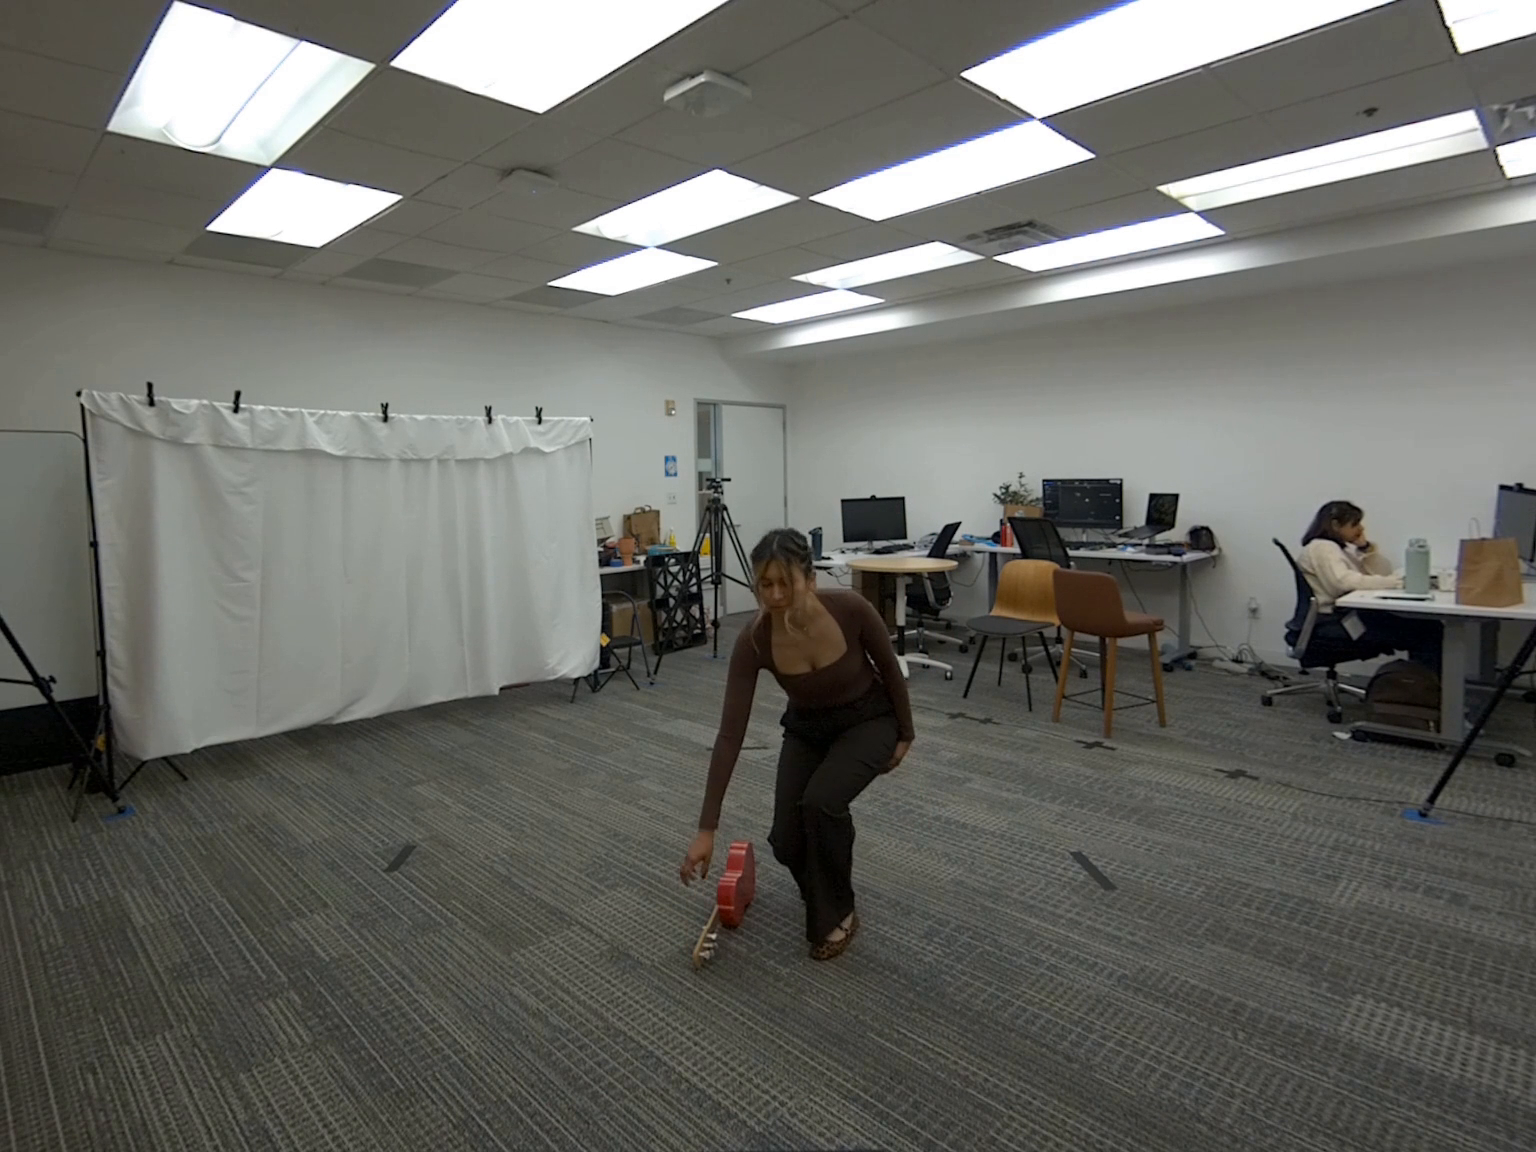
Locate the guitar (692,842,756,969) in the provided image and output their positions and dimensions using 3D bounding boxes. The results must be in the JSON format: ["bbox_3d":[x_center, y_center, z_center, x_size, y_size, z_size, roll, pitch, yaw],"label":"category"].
[{"bbox_3d":[-0.124,1.045,2.661,0.072,0.189,0.501,-1,24,13],"label":"guitar"}]
